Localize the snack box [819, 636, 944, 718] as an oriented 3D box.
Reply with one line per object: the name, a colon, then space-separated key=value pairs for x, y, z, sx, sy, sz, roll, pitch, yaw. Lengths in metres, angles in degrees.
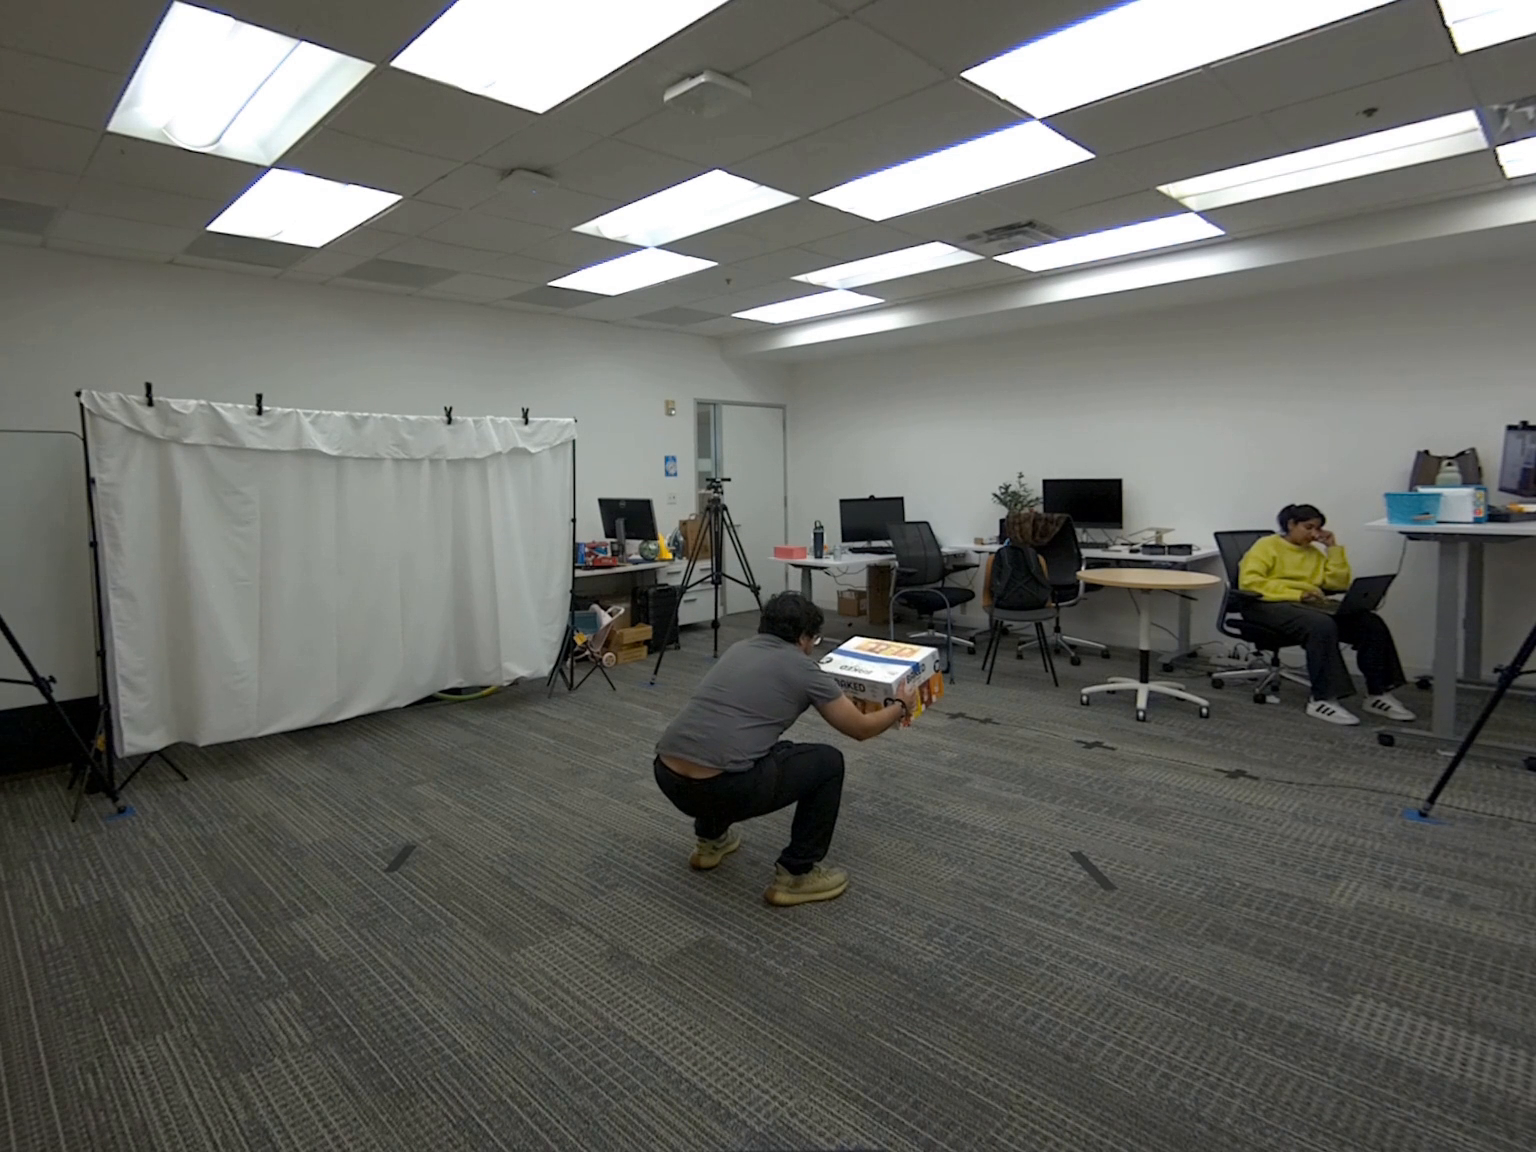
snack box: x=0.439 y=0.423 z=3.483 sx=0.418 sy=0.203 sz=0.335 roll=5 pitch=21 yaw=42
